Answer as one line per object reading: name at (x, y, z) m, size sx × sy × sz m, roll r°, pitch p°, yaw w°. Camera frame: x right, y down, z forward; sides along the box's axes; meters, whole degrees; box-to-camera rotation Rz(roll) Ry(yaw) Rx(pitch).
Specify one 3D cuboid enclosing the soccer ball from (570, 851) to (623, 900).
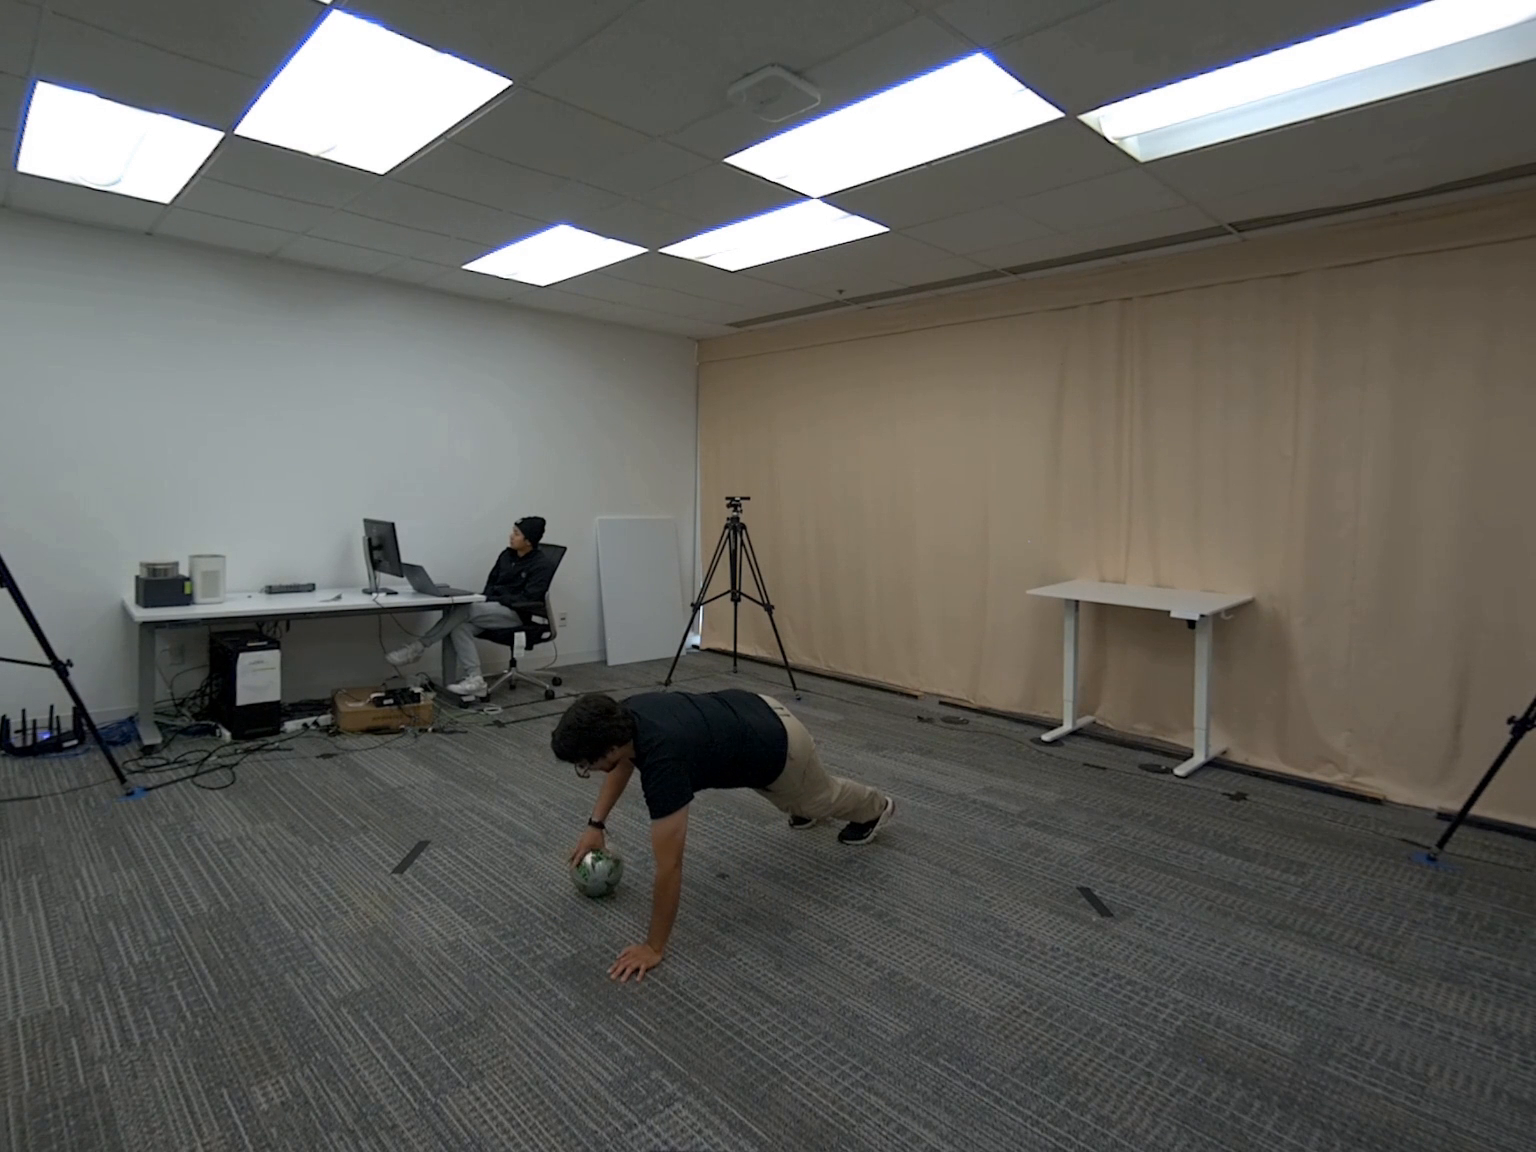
soccer ball at (-0.606, 1.020, 2.938) m, size 0.187 × 0.187 × 0.188 m, roll 1°, pitch 4°, yaw -1°
